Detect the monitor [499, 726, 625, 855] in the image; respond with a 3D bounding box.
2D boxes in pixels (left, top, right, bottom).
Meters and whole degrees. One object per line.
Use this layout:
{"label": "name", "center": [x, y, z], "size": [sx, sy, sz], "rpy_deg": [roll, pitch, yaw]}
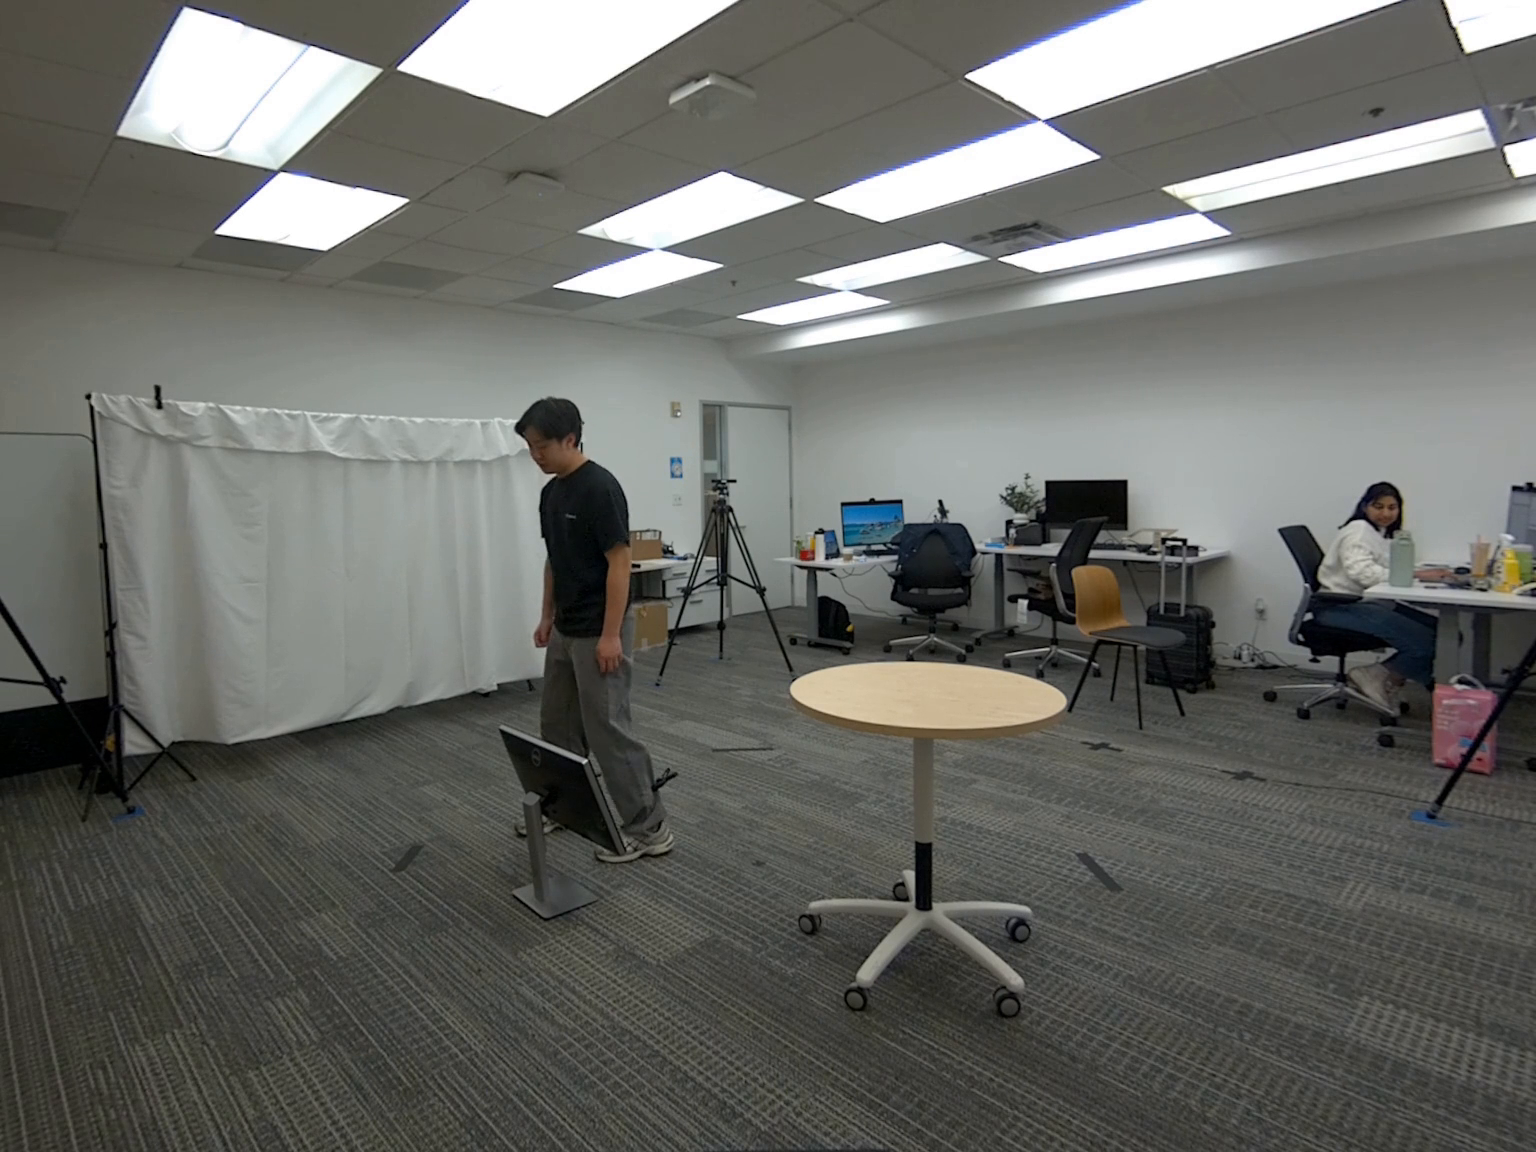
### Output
{"label": "monitor", "center": [-0.727, 0.825, 2.876], "size": [0.216, 0.563, 0.579], "rpy_deg": [-5, 7, -41]}
